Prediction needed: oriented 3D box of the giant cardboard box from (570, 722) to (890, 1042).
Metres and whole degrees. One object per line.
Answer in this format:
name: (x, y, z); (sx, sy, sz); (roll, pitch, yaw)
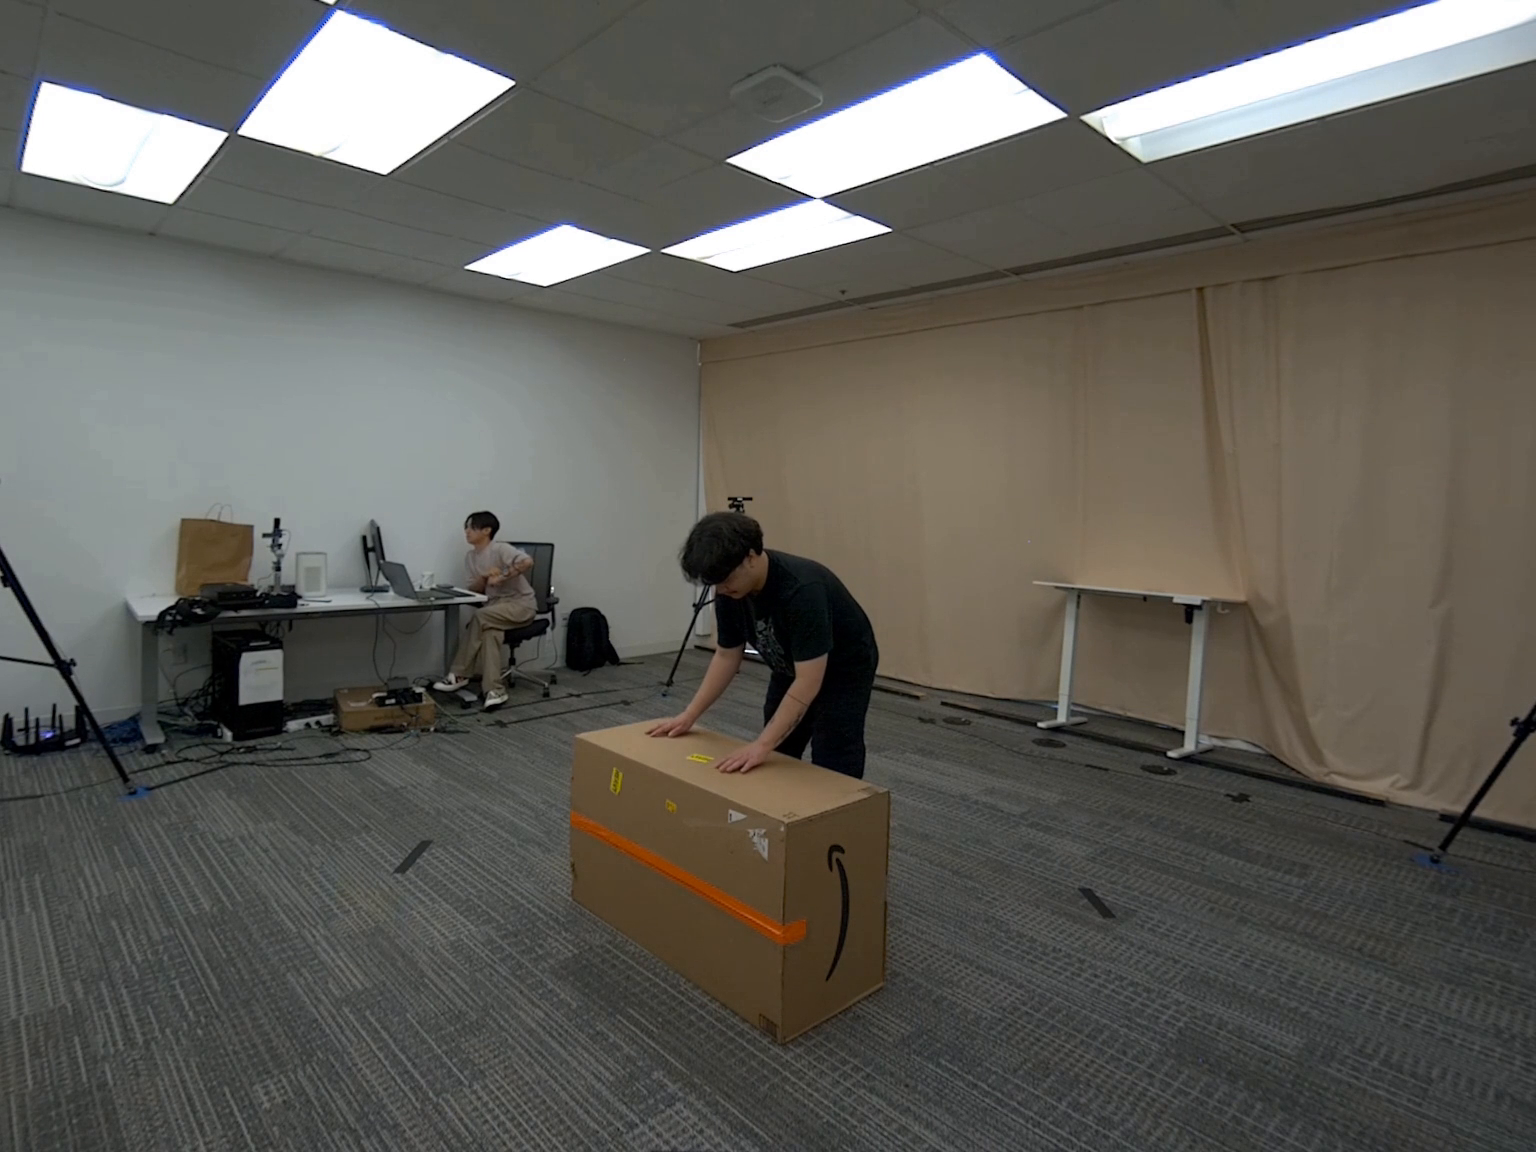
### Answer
giant cardboard box: (-0.173, 0.865, 2.641); (0.437, 0.582, 1.053); (-3, 6, -43)
